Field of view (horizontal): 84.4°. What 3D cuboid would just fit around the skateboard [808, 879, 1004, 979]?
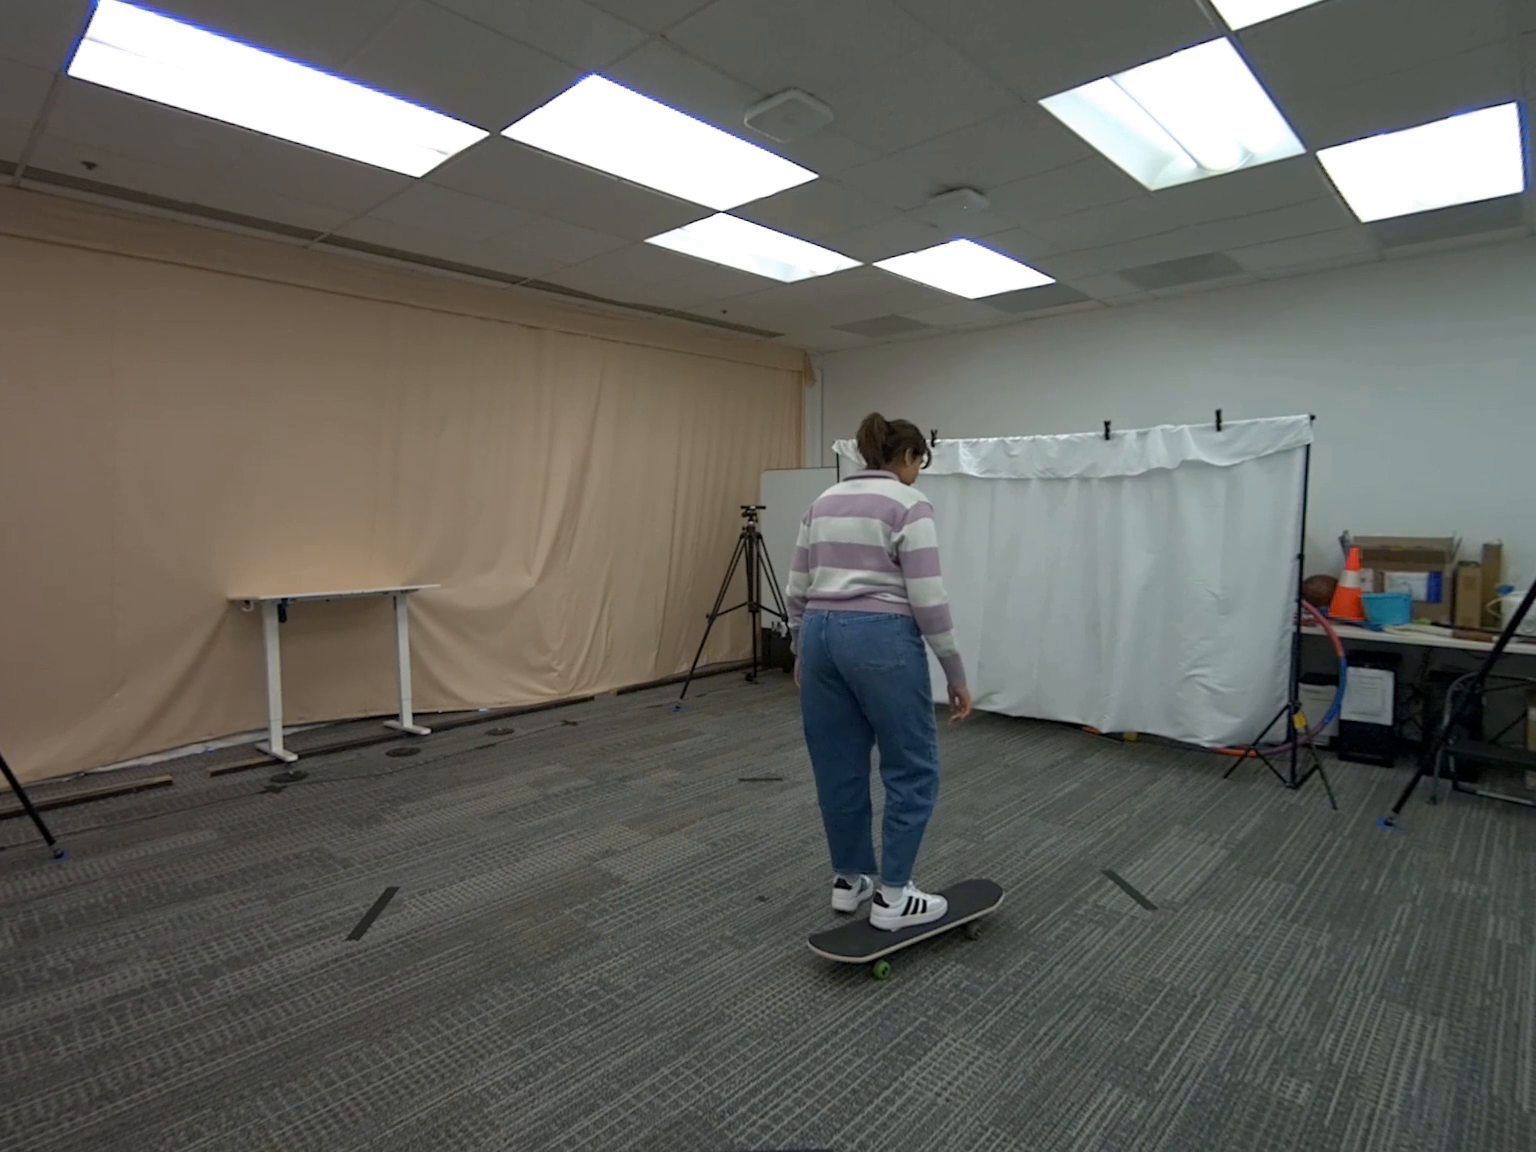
[{"bbox_3d":[0.461,1.117,2.652,0.763,0.110,0.199,-3,3,-33],"label":"skateboard"}]
